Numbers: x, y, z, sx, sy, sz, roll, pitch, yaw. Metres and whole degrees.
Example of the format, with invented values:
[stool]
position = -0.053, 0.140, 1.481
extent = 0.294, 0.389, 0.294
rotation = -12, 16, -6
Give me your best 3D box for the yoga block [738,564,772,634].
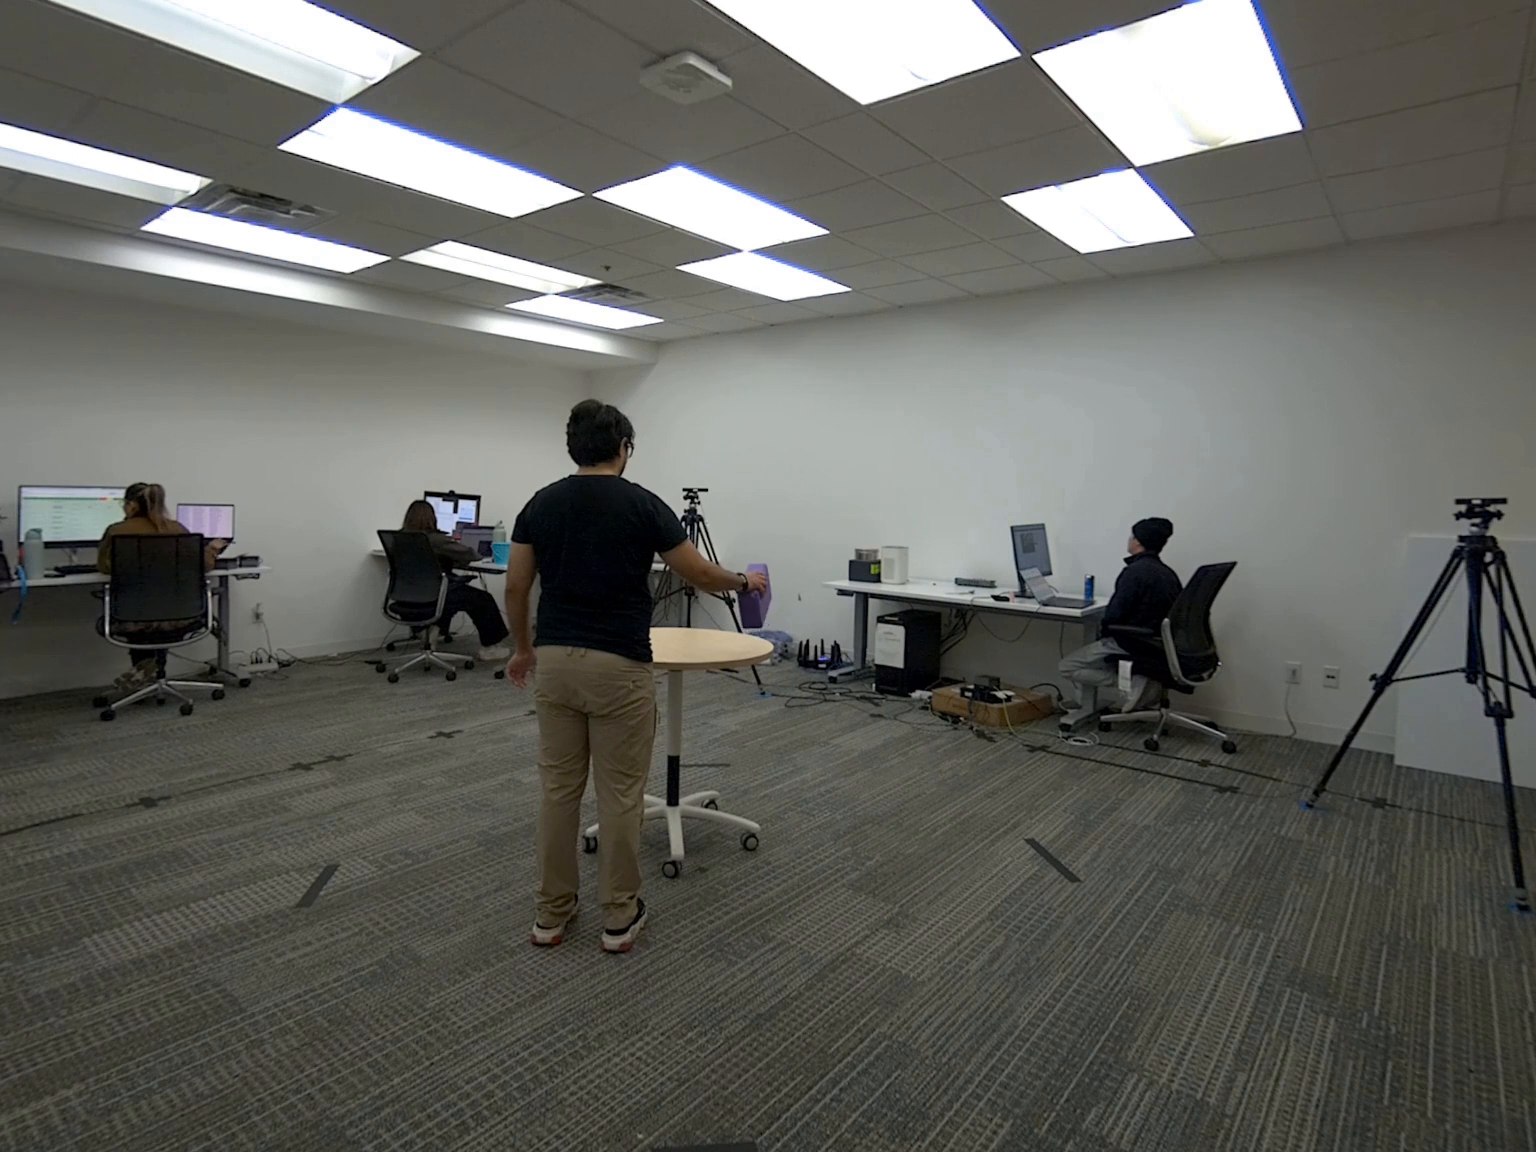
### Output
[yoga block]
position = -0.067, 0.082, 3.030
extent = 0.077, 0.145, 0.232
rotation = -2, 27, 13
